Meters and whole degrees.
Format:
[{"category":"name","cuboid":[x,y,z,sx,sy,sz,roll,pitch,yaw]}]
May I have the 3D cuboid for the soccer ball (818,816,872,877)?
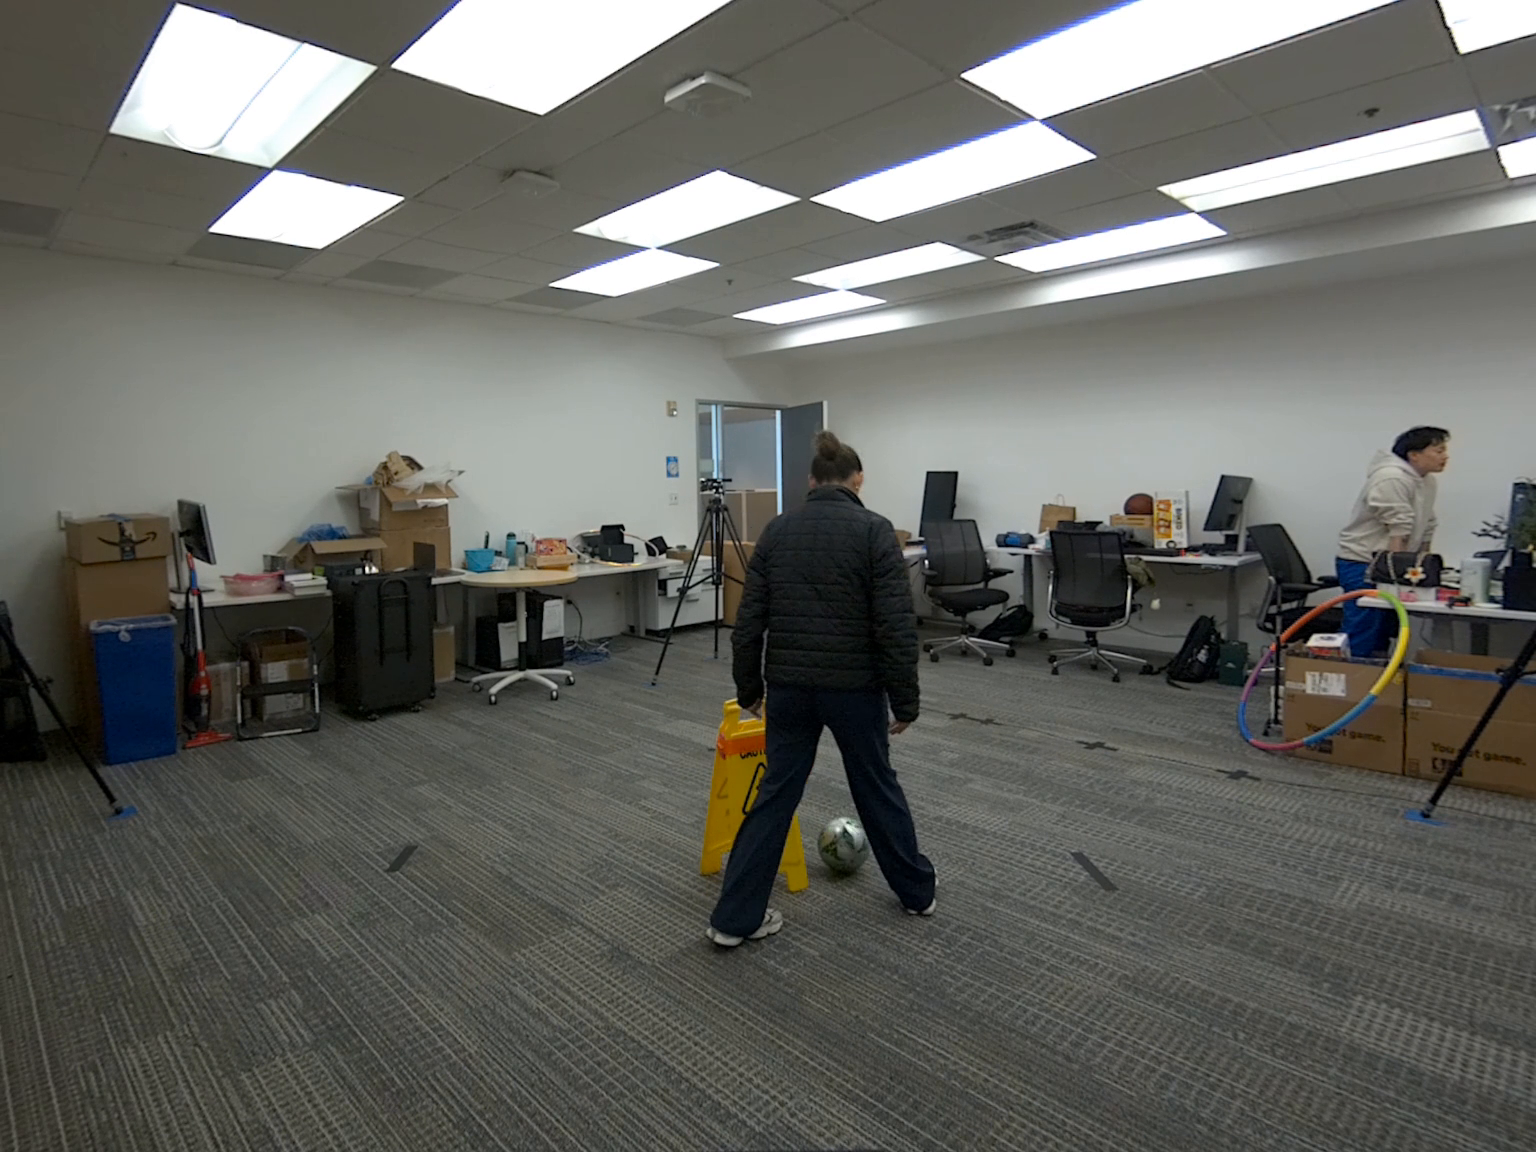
[{"category":"soccer ball","cuboid":[0.268,0.948,3.031,0.187,0.187,0.188,-1,5,-2]}]
